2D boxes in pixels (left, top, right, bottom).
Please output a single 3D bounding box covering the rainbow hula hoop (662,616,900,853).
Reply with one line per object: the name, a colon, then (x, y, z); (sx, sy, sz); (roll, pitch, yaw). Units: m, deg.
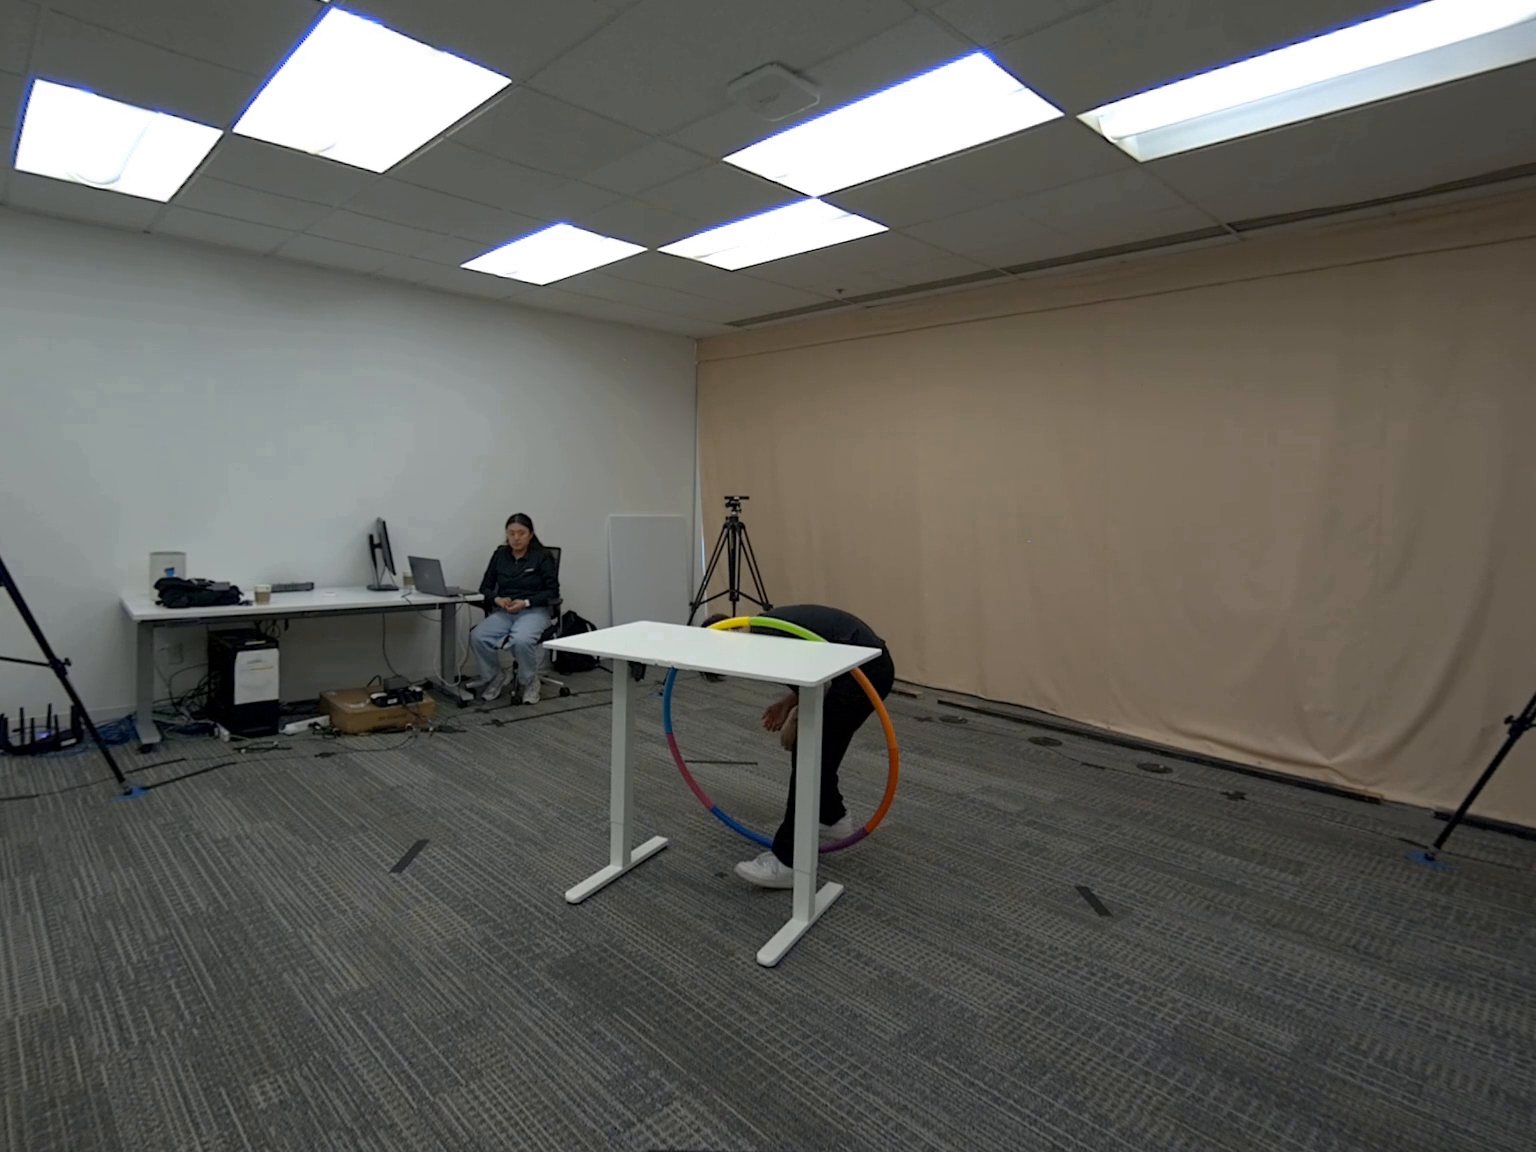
rainbow hula hoop: (0.013, 0.620, 3.236); (0.999, 0.967, 0.035); (4, 16, 28)
